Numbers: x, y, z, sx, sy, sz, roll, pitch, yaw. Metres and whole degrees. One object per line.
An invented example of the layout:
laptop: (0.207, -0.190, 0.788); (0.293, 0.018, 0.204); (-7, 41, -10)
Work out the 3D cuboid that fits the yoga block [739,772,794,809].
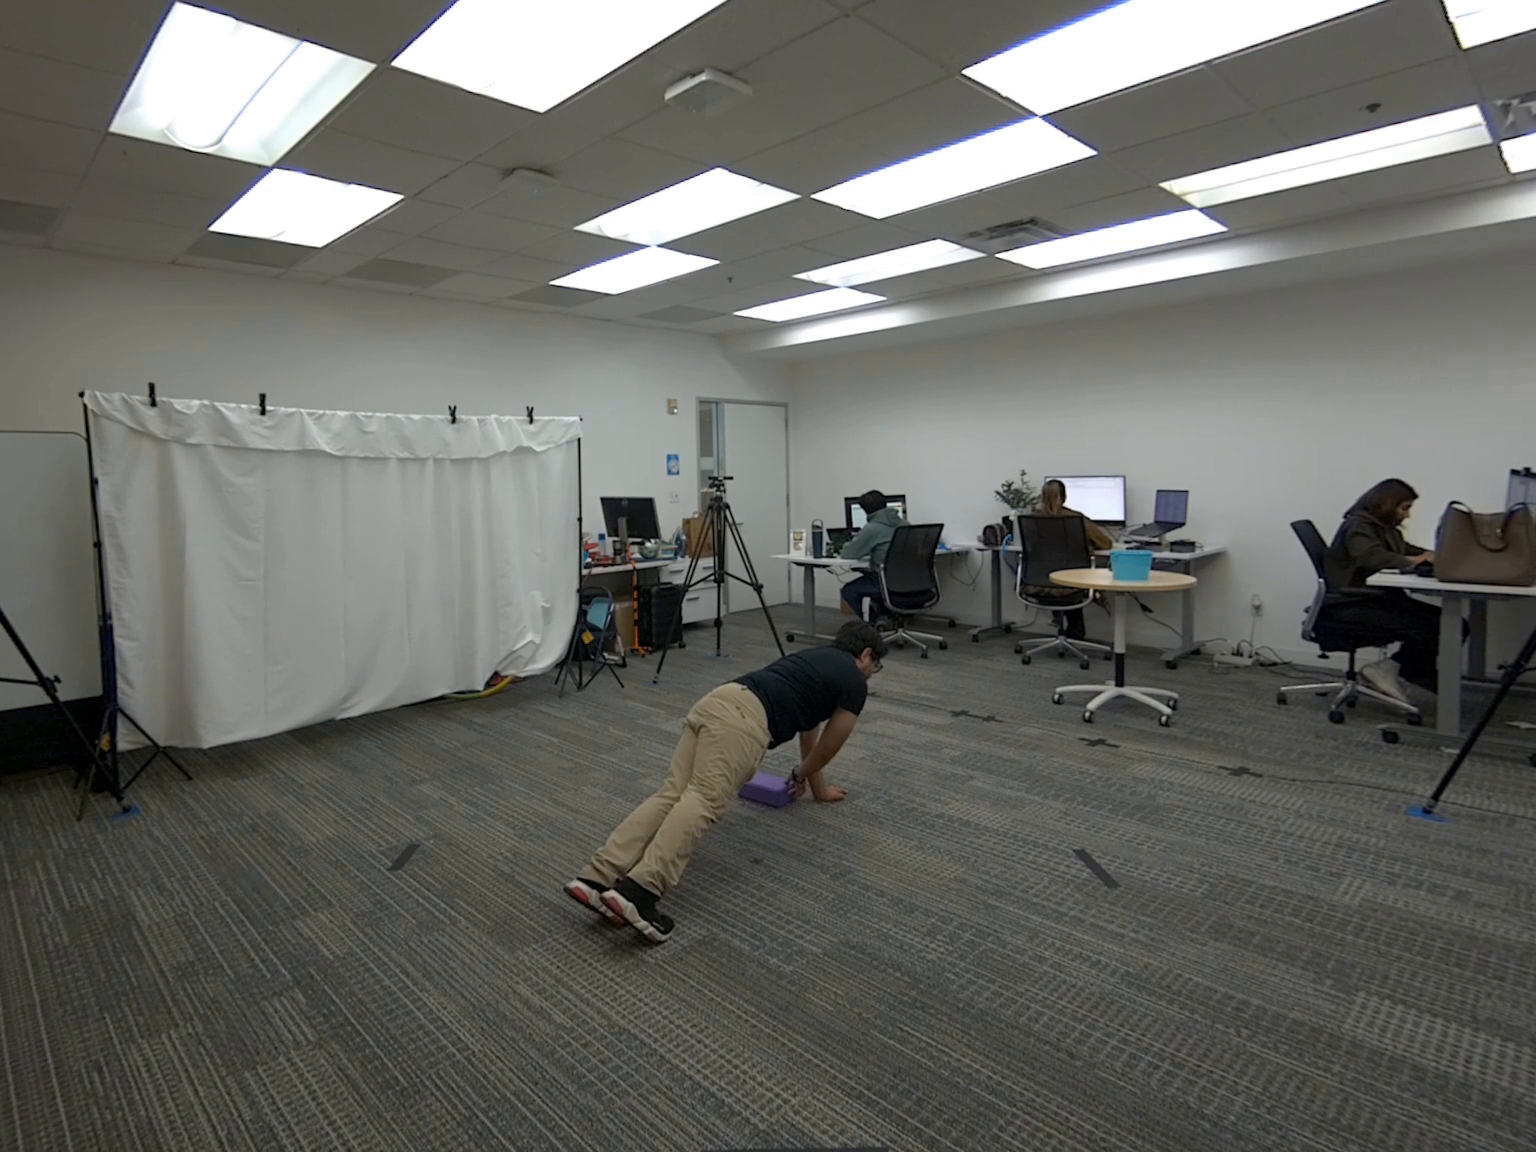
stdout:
yoga block: (-0.002, 0.926, 3.719); (0.236, 0.076, 0.145); (4, 6, 39)
